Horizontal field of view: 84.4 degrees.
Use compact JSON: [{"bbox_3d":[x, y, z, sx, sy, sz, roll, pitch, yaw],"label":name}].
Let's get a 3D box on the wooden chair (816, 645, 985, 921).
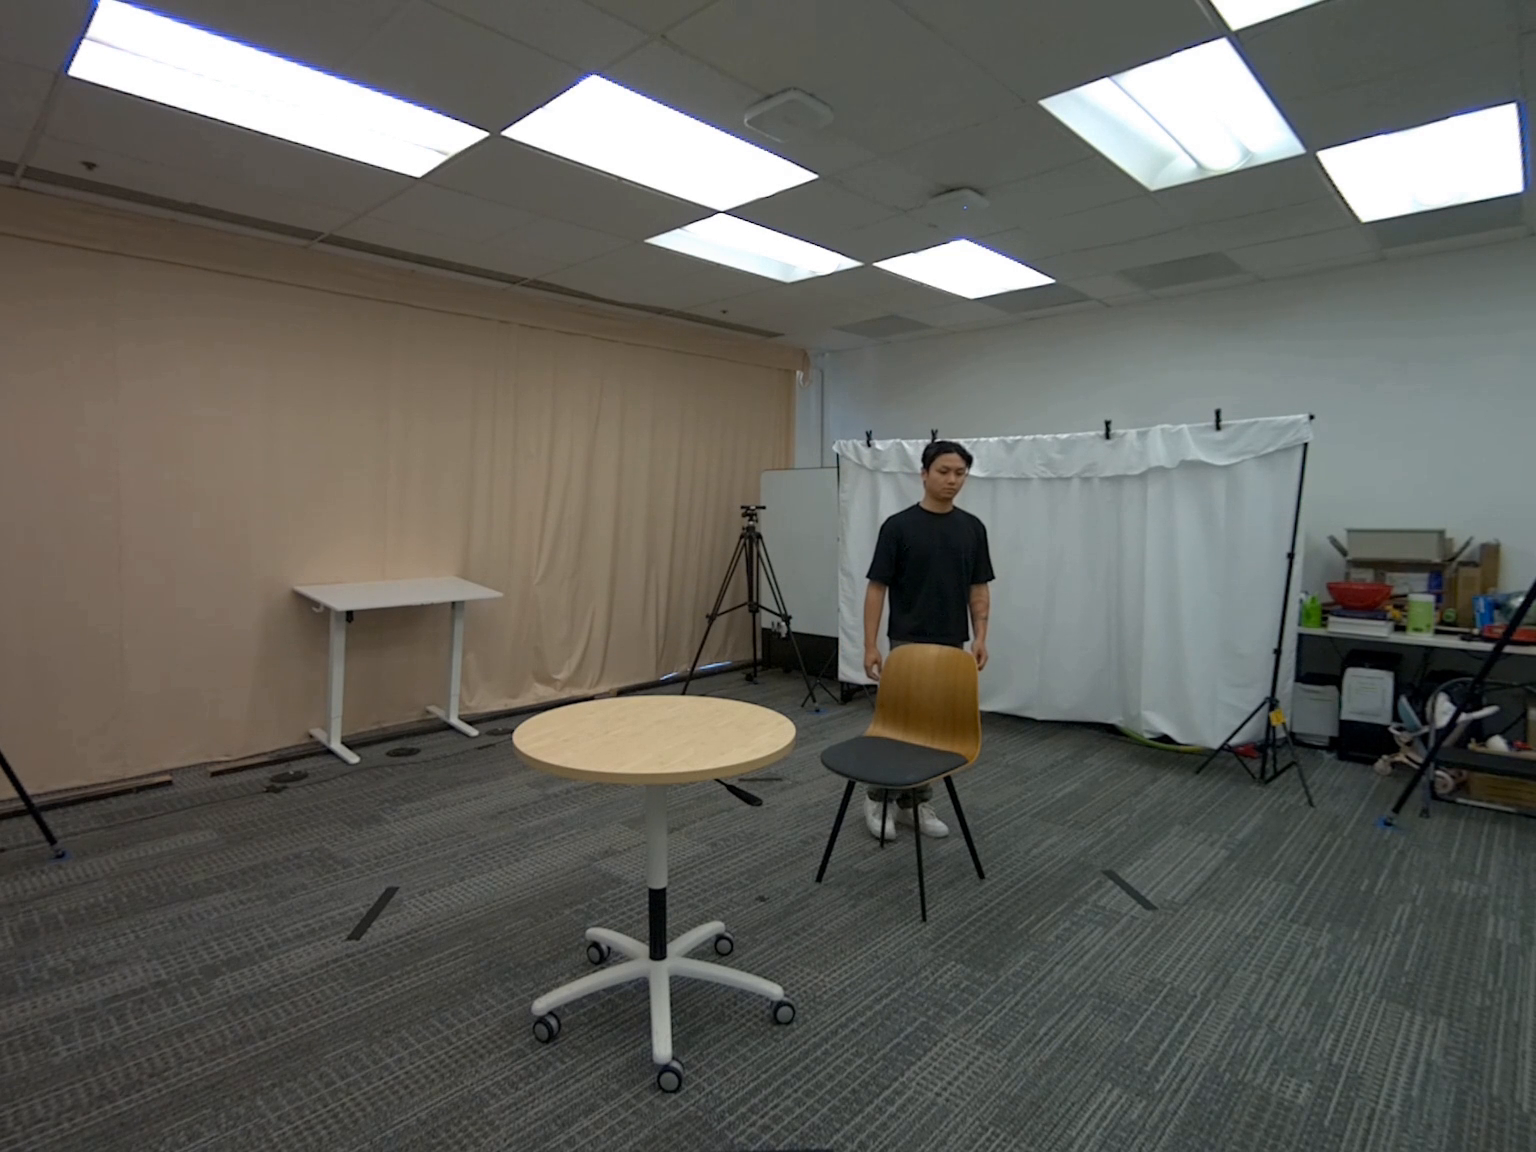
[{"bbox_3d":[0.490,0.704,3.092,0.494,0.877,0.506,4,0,41],"label":"wooden chair"}]
